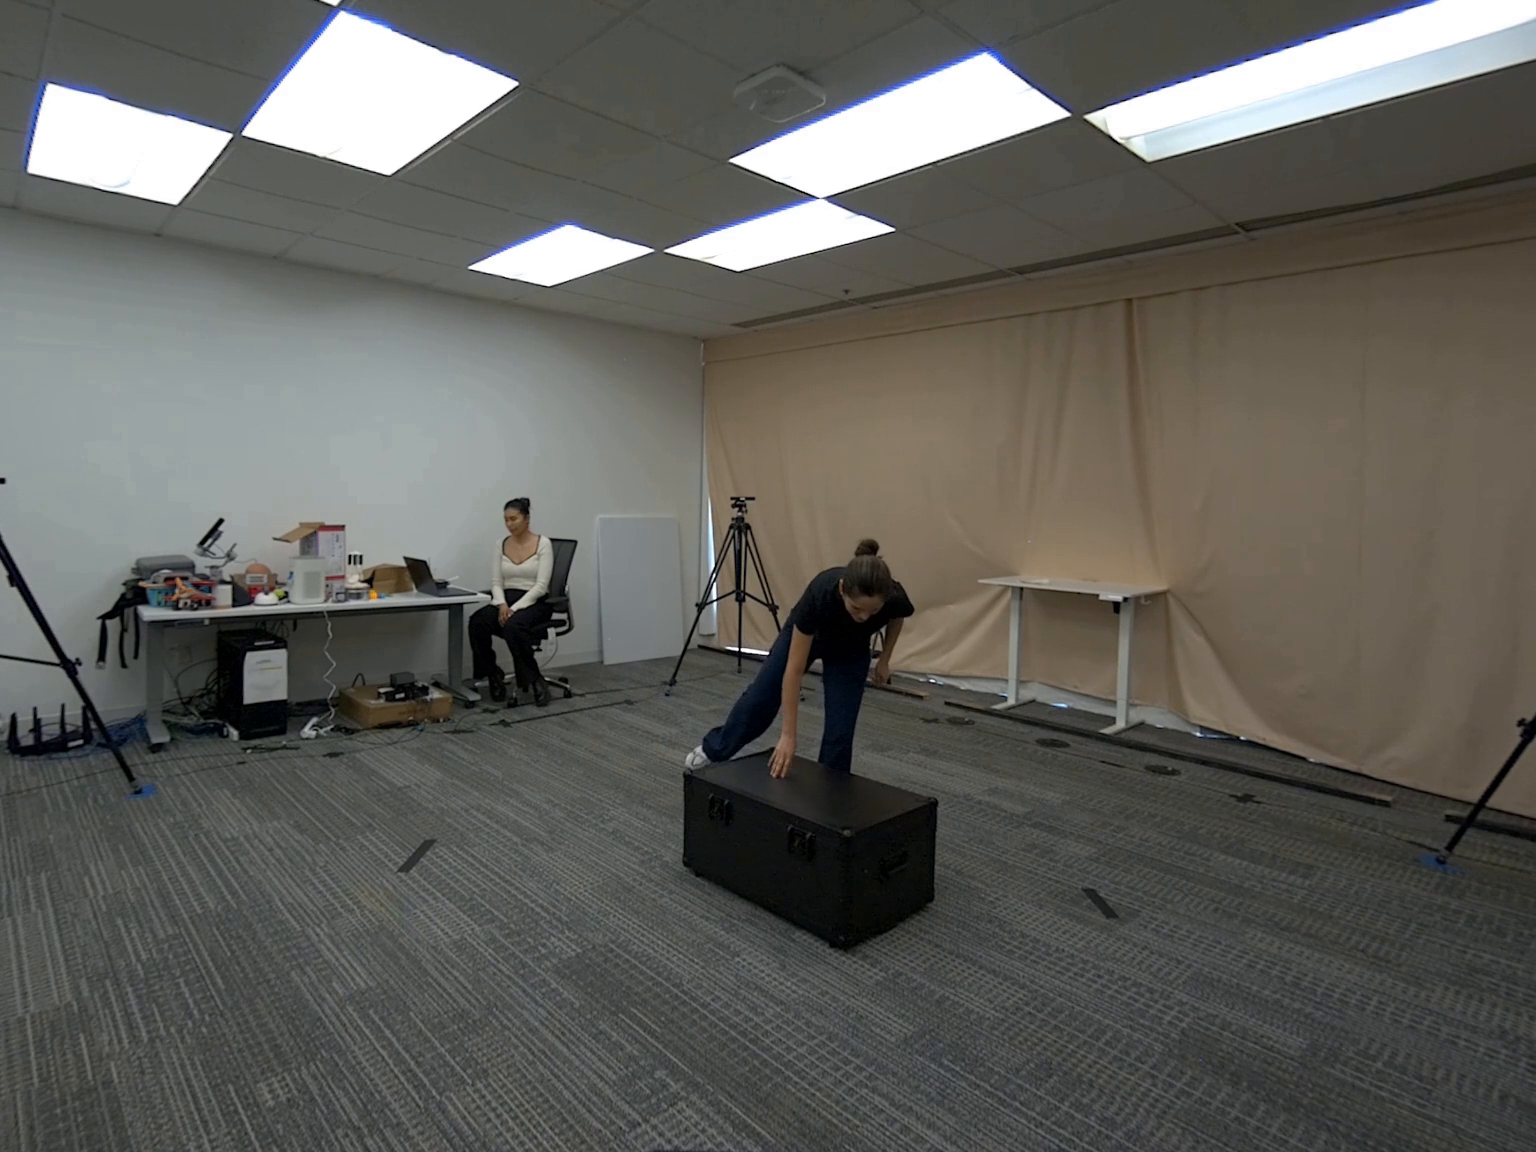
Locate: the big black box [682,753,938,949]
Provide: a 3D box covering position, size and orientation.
[{"bbox_3d":[0.101,0.911,3.012,0.509,0.395,0.883,-2,5,-45],"label":"big black box"}]
